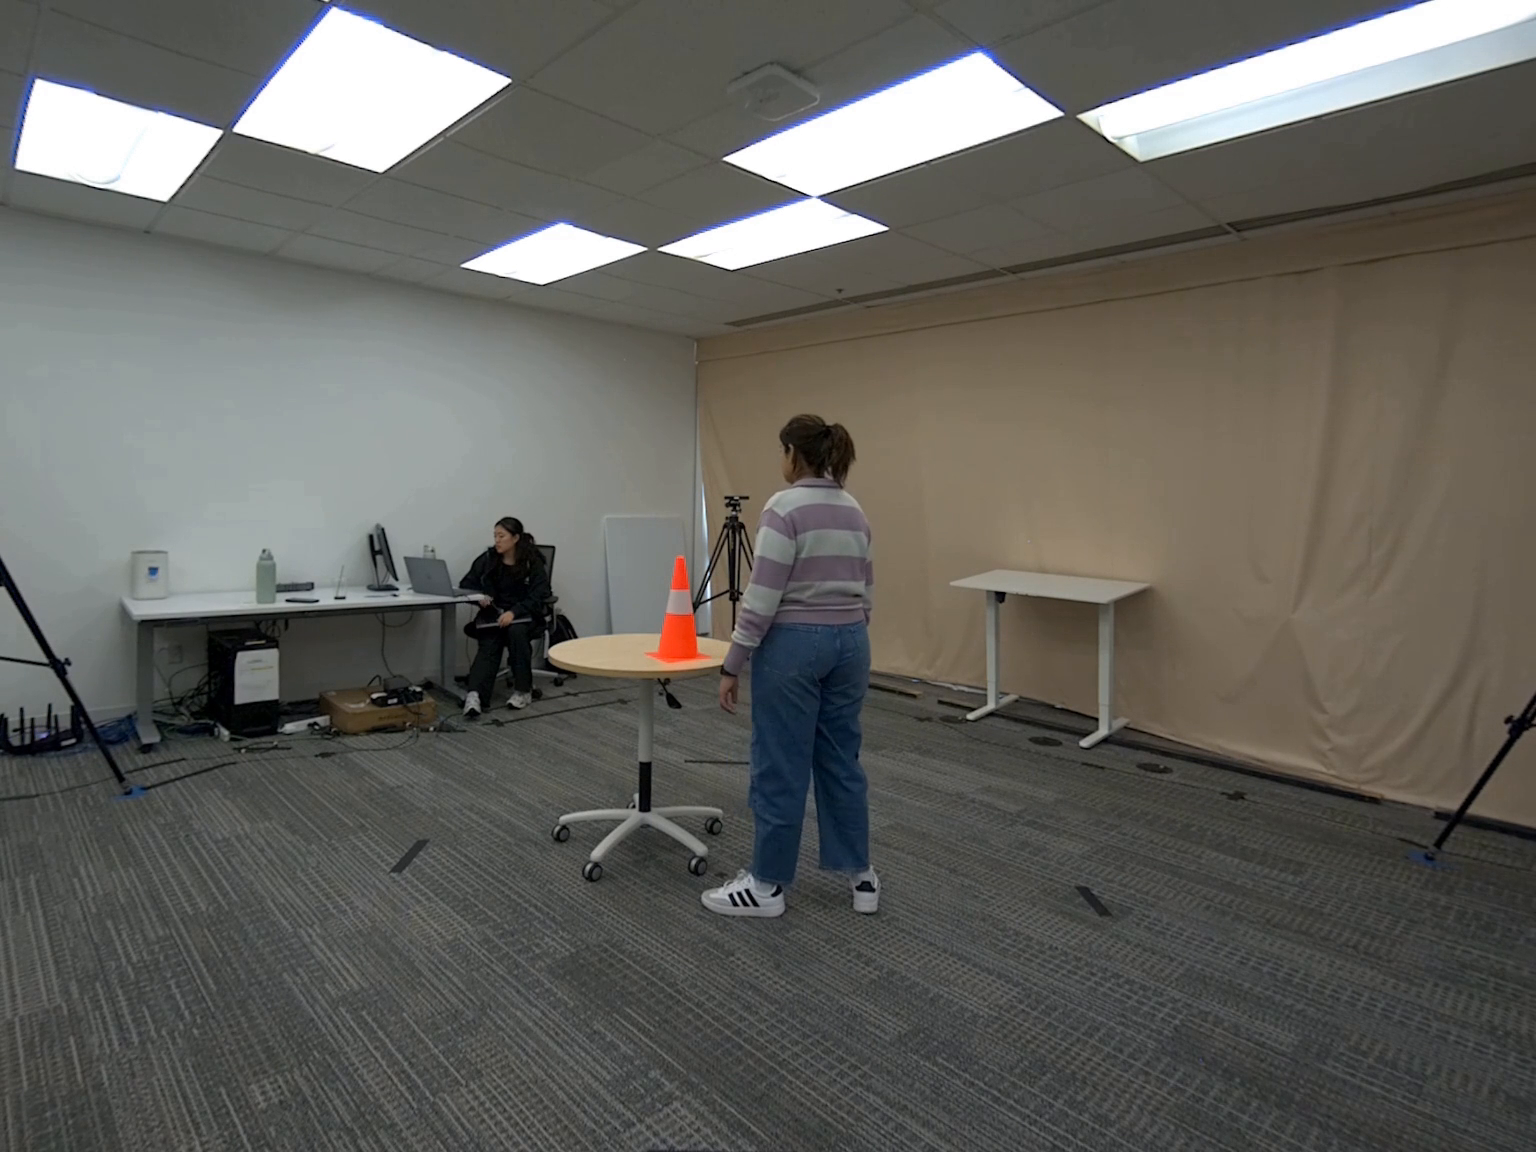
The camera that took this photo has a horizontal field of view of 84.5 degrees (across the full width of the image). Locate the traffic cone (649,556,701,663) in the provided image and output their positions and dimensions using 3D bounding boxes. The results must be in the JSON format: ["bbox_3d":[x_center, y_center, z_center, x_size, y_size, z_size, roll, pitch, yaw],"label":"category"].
[{"bbox_3d":[-0.343,0.120,3.205,0.200,0.383,0.208,-1,5,-43],"label":"traffic cone"}]
